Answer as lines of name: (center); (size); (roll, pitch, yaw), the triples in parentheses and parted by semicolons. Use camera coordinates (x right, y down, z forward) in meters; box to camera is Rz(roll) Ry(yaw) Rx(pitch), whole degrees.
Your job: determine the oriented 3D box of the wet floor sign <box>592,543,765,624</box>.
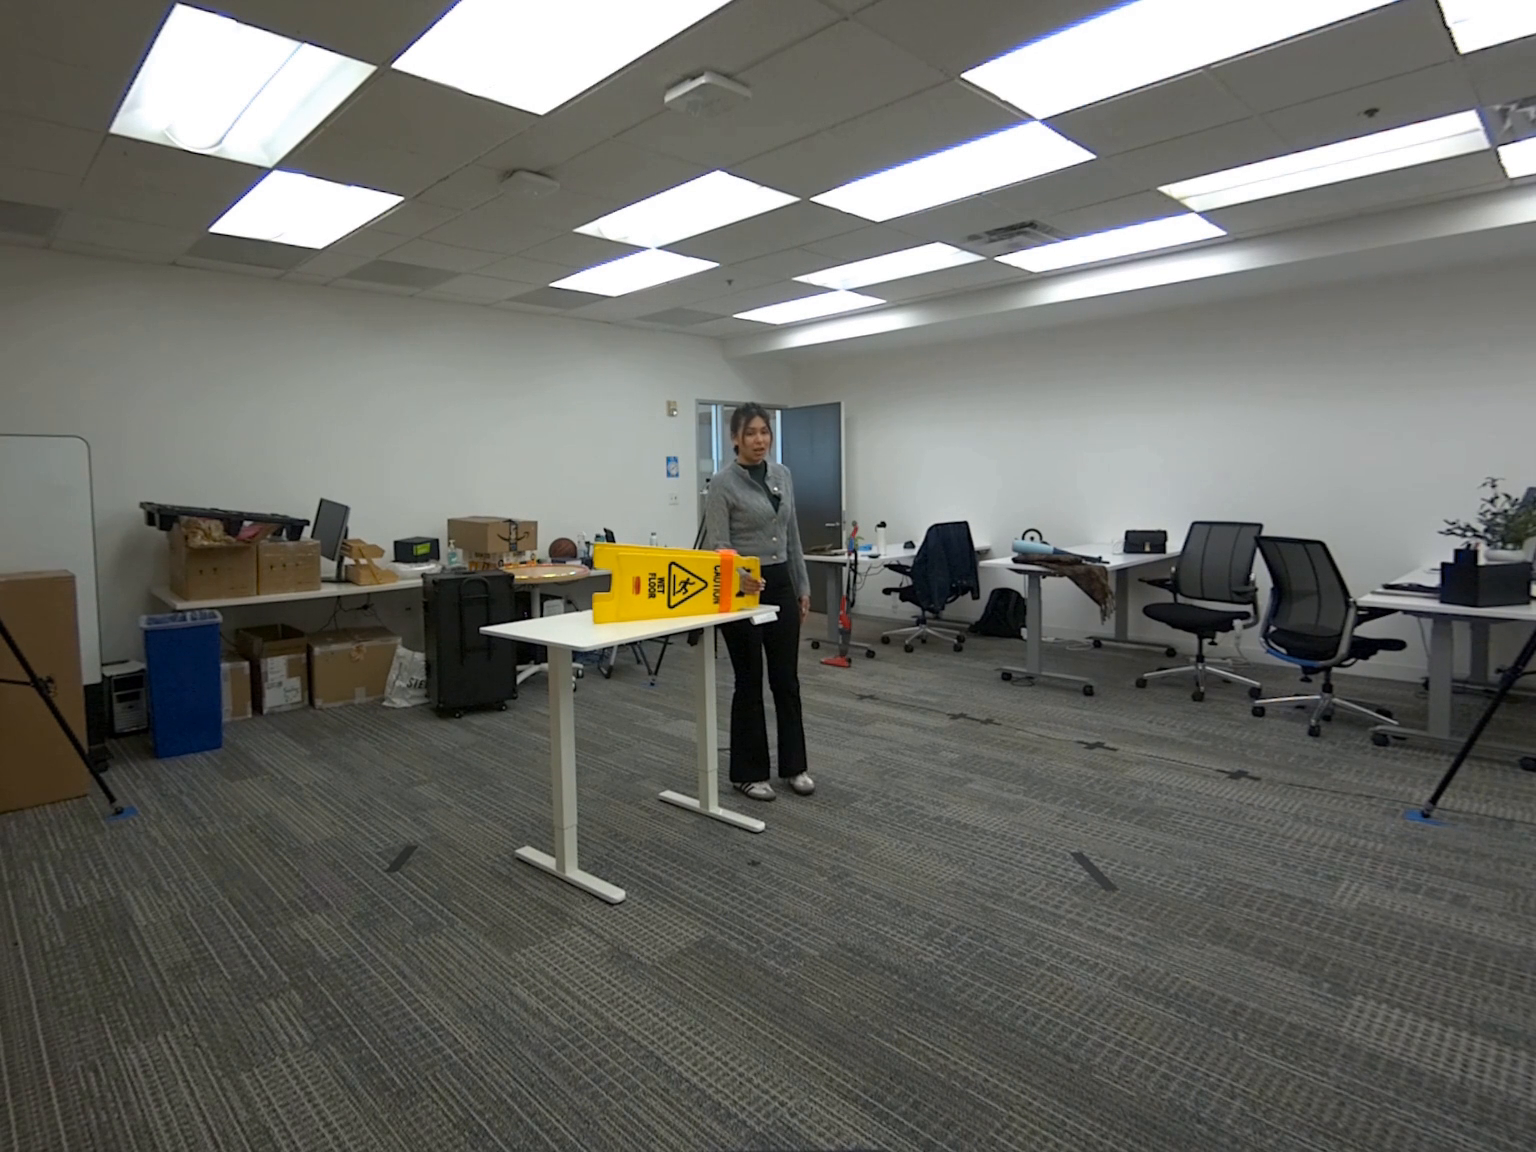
wet floor sign: (-0.353, 0.023, 3.299); (0.640, 0.281, 0.293); (1, 5, -9)
